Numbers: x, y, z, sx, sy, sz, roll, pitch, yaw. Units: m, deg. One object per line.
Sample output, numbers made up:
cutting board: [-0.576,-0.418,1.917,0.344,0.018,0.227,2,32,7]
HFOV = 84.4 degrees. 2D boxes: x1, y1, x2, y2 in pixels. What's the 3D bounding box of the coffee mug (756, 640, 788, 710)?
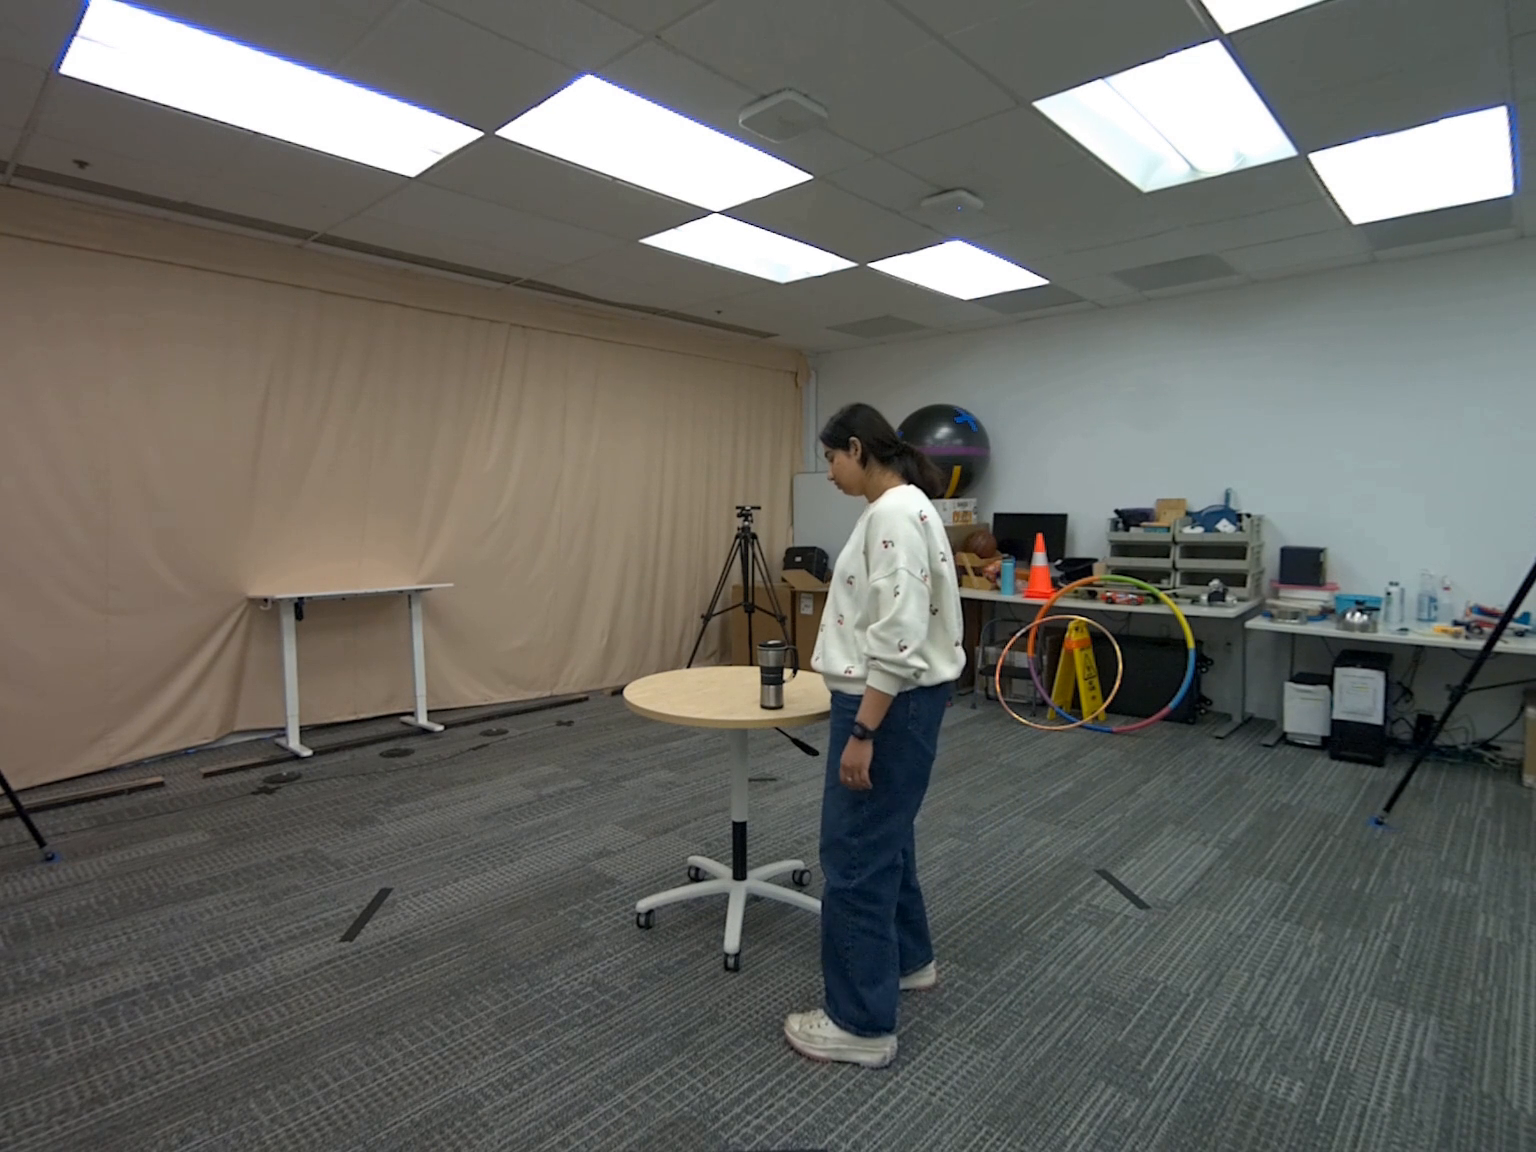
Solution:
coffee mug: [0.031,0.303,2.536,0.126,0.203,0.085,0,-1,41]
